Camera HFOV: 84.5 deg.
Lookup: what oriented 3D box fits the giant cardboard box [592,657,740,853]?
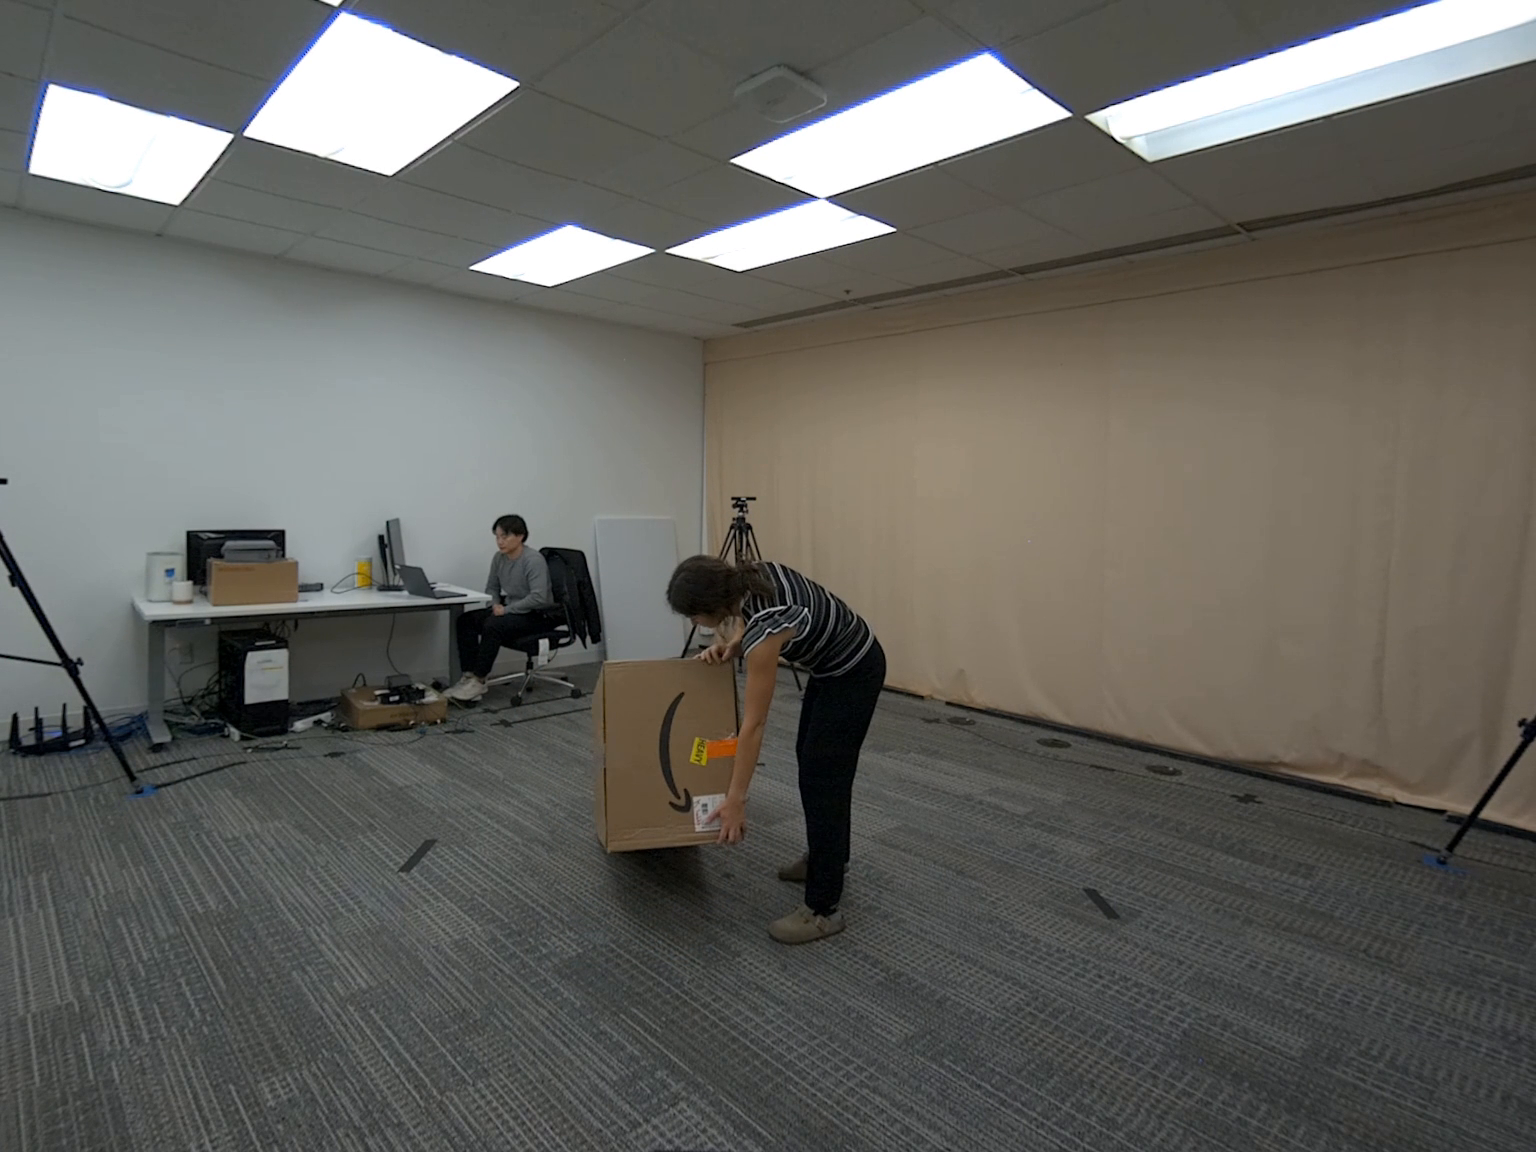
[{"bbox_3d":[-0.416,0.662,3.106,0.422,0.584,1.025,0,-14,-14],"label":"giant cardboard box"}]
